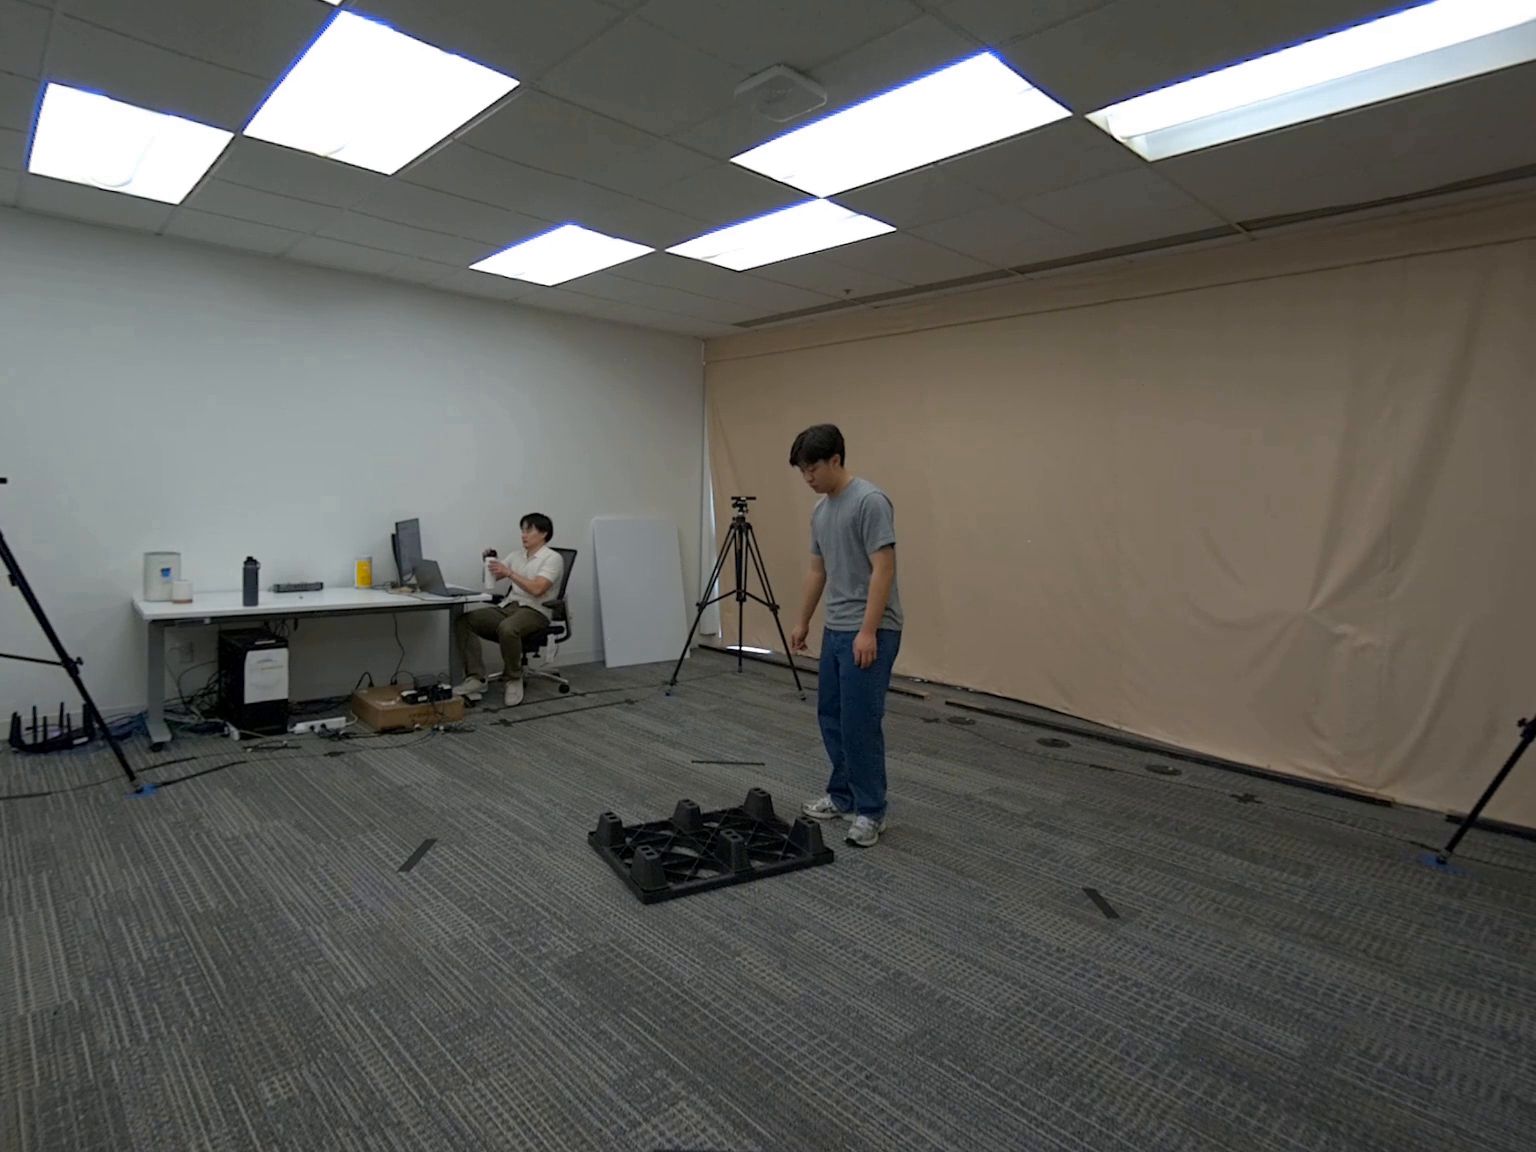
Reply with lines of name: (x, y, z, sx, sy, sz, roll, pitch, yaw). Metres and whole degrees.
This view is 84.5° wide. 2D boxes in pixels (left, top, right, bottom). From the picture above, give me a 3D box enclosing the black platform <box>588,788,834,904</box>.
black platform: (-0.241, 1.021, 3.300, 0.789, 0.143, 0.619, -2, 6, -30)
